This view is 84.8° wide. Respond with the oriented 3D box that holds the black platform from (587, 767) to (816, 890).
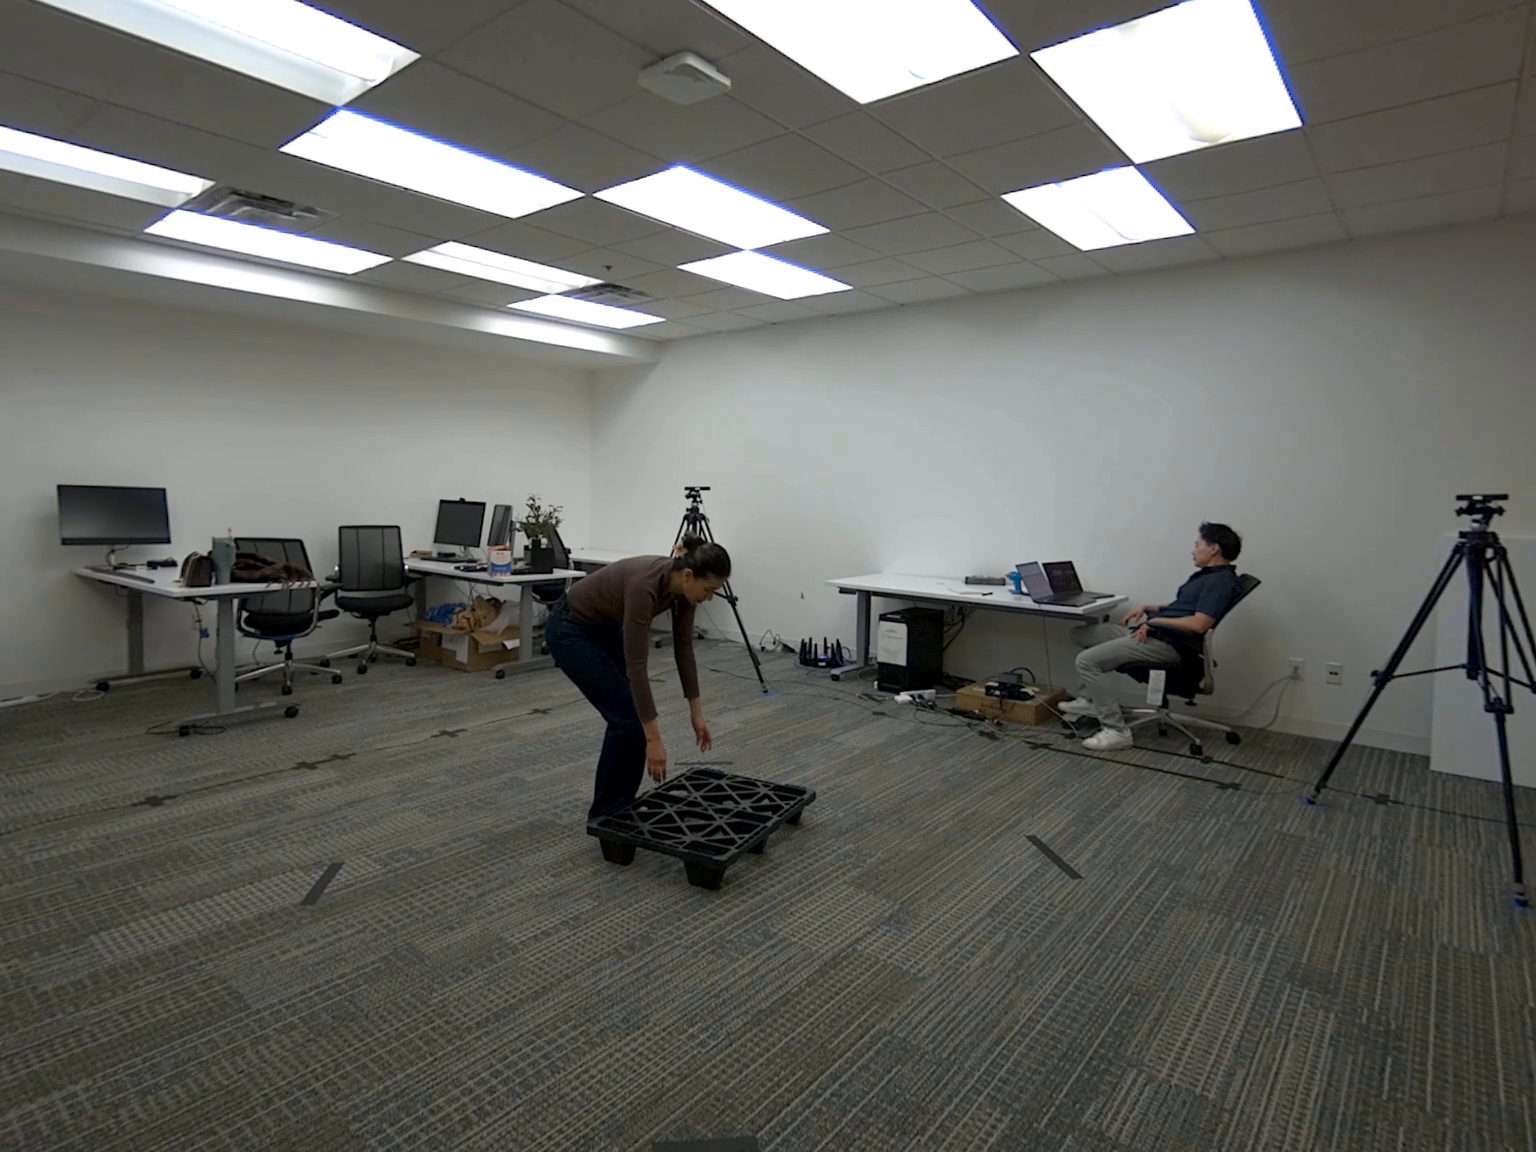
[{"bbox_3d":[-0.241,0.973,3.359,0.622,0.143,0.786,4,7,28],"label":"black platform"}]
